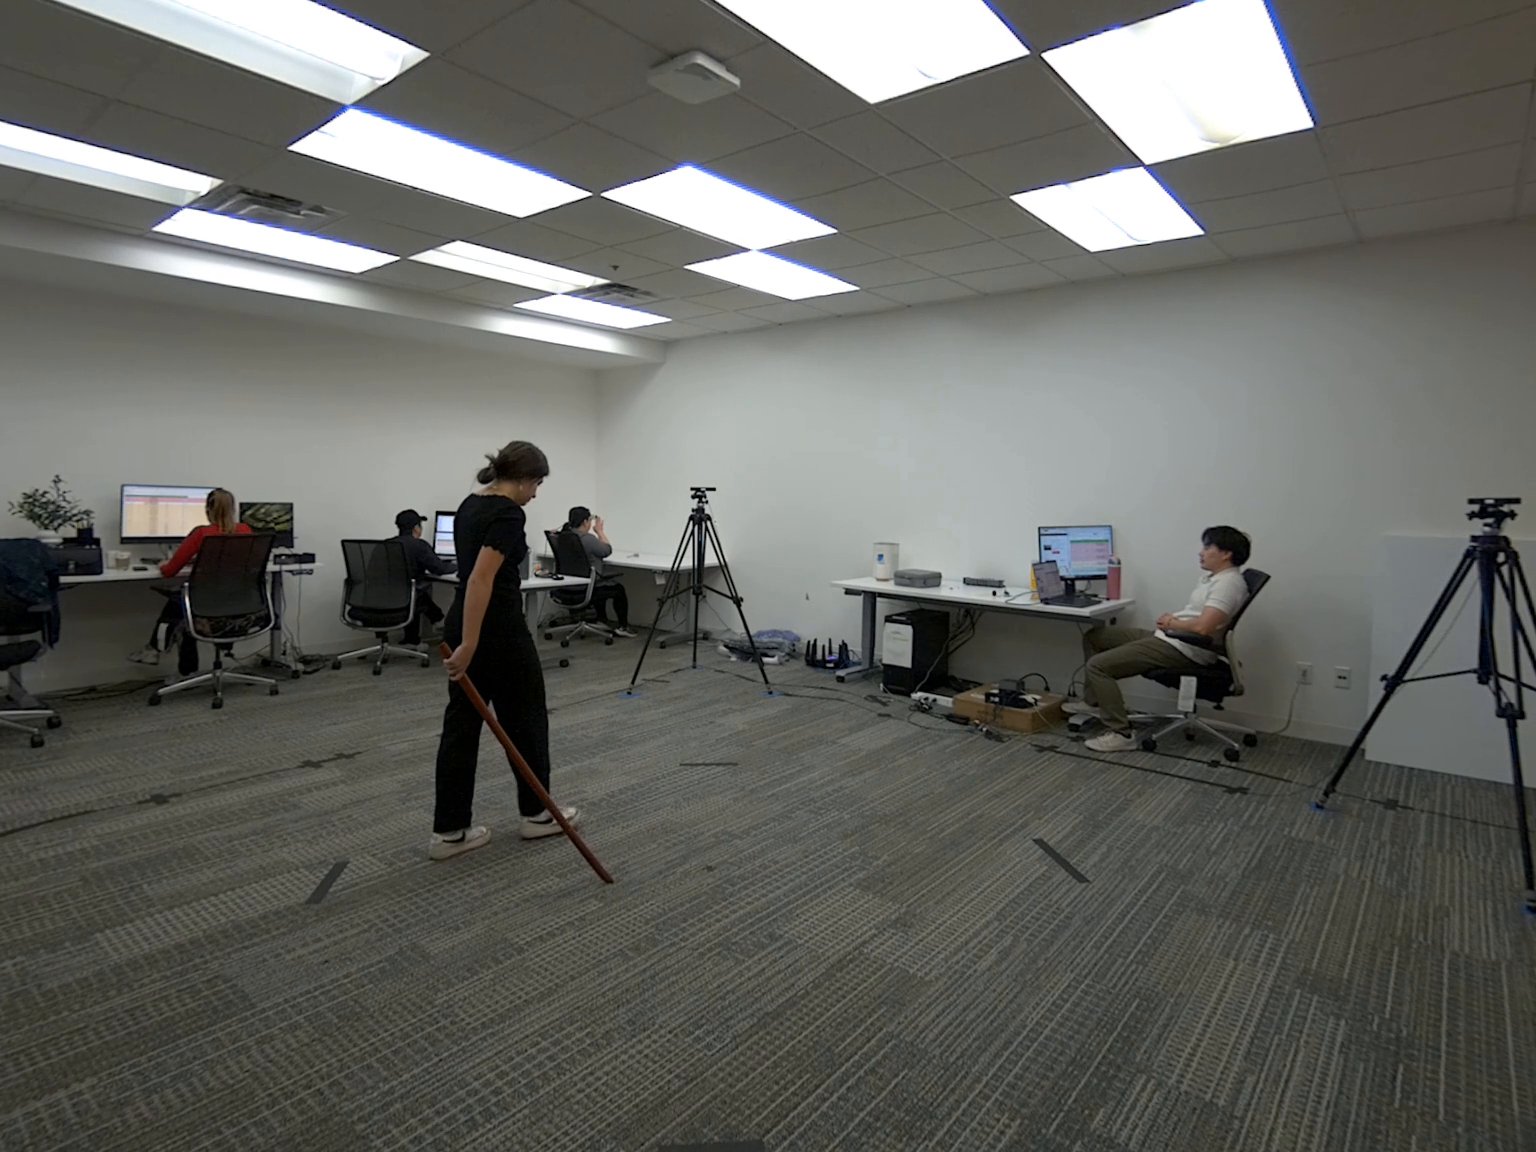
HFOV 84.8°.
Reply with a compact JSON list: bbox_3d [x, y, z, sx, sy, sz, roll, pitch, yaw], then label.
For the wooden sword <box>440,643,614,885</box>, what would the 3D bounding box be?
[{"bbox_3d":[-0.861,0.664,2.997,0.024,1.024,0.052,-36,1,-30],"label":"wooden sword"}]
